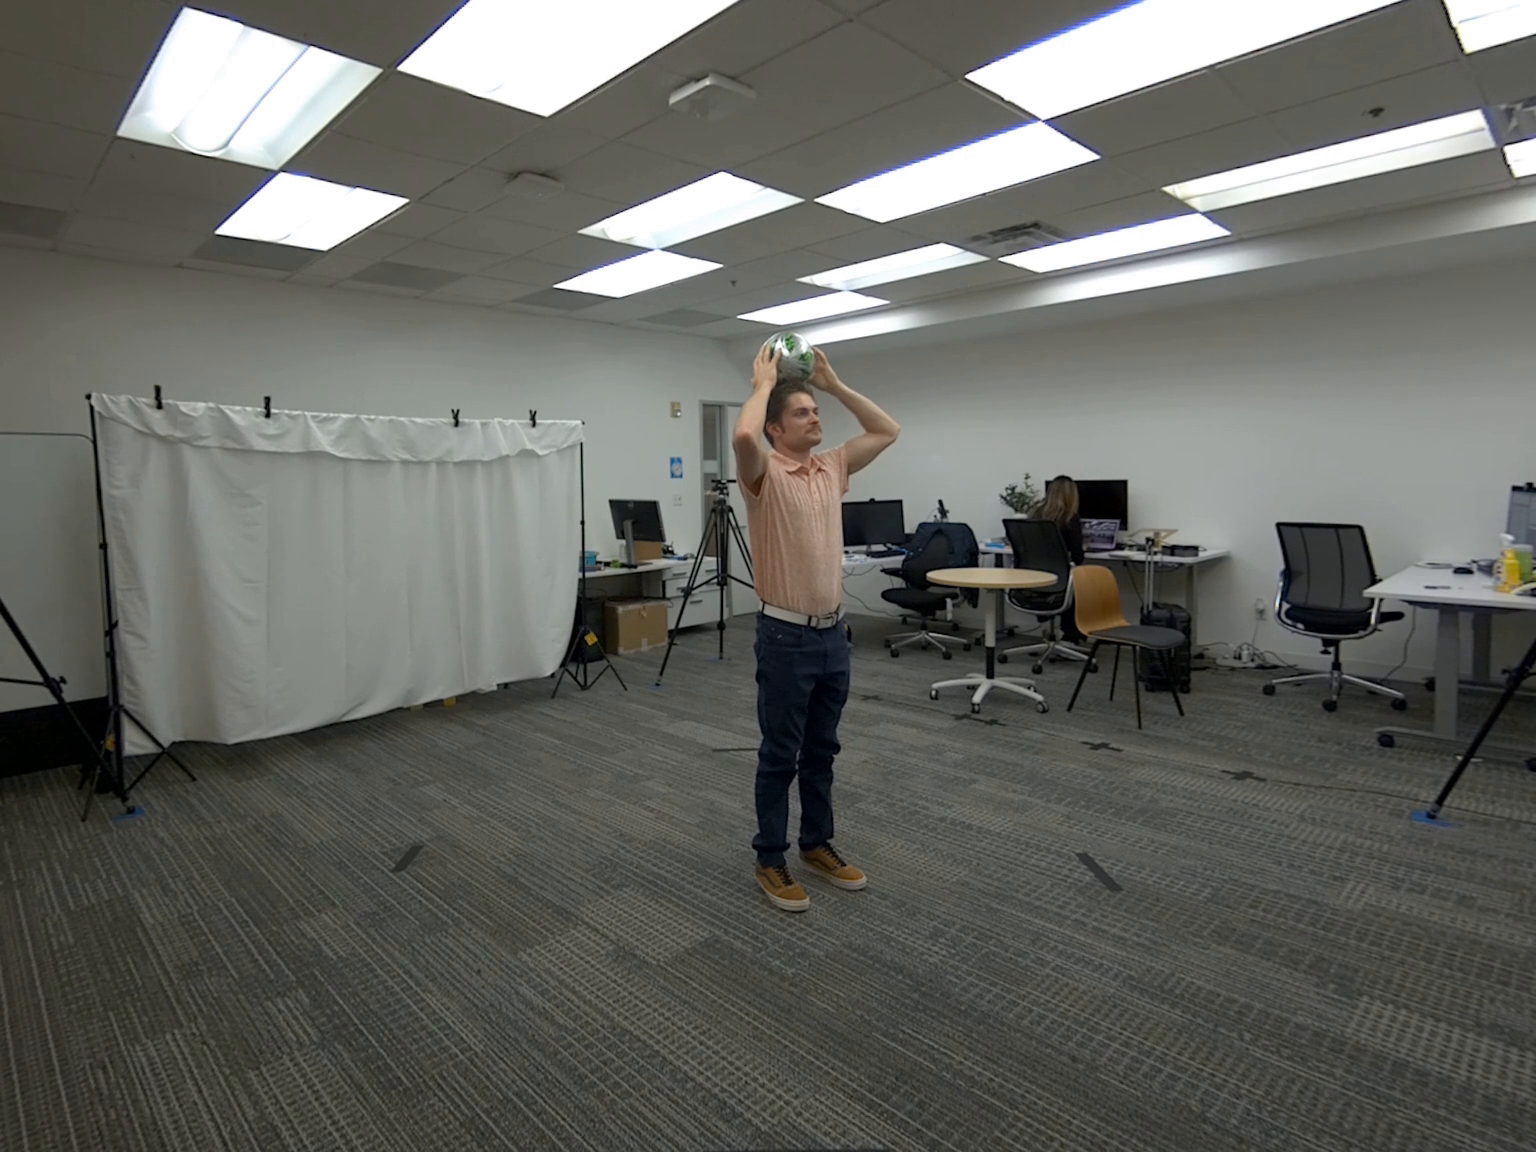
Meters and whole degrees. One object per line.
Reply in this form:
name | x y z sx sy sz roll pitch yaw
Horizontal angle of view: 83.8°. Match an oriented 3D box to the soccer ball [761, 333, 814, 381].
soccer ball | 0.066 -0.723 2.872 0.187 0.187 0.188 -1 5 -2
